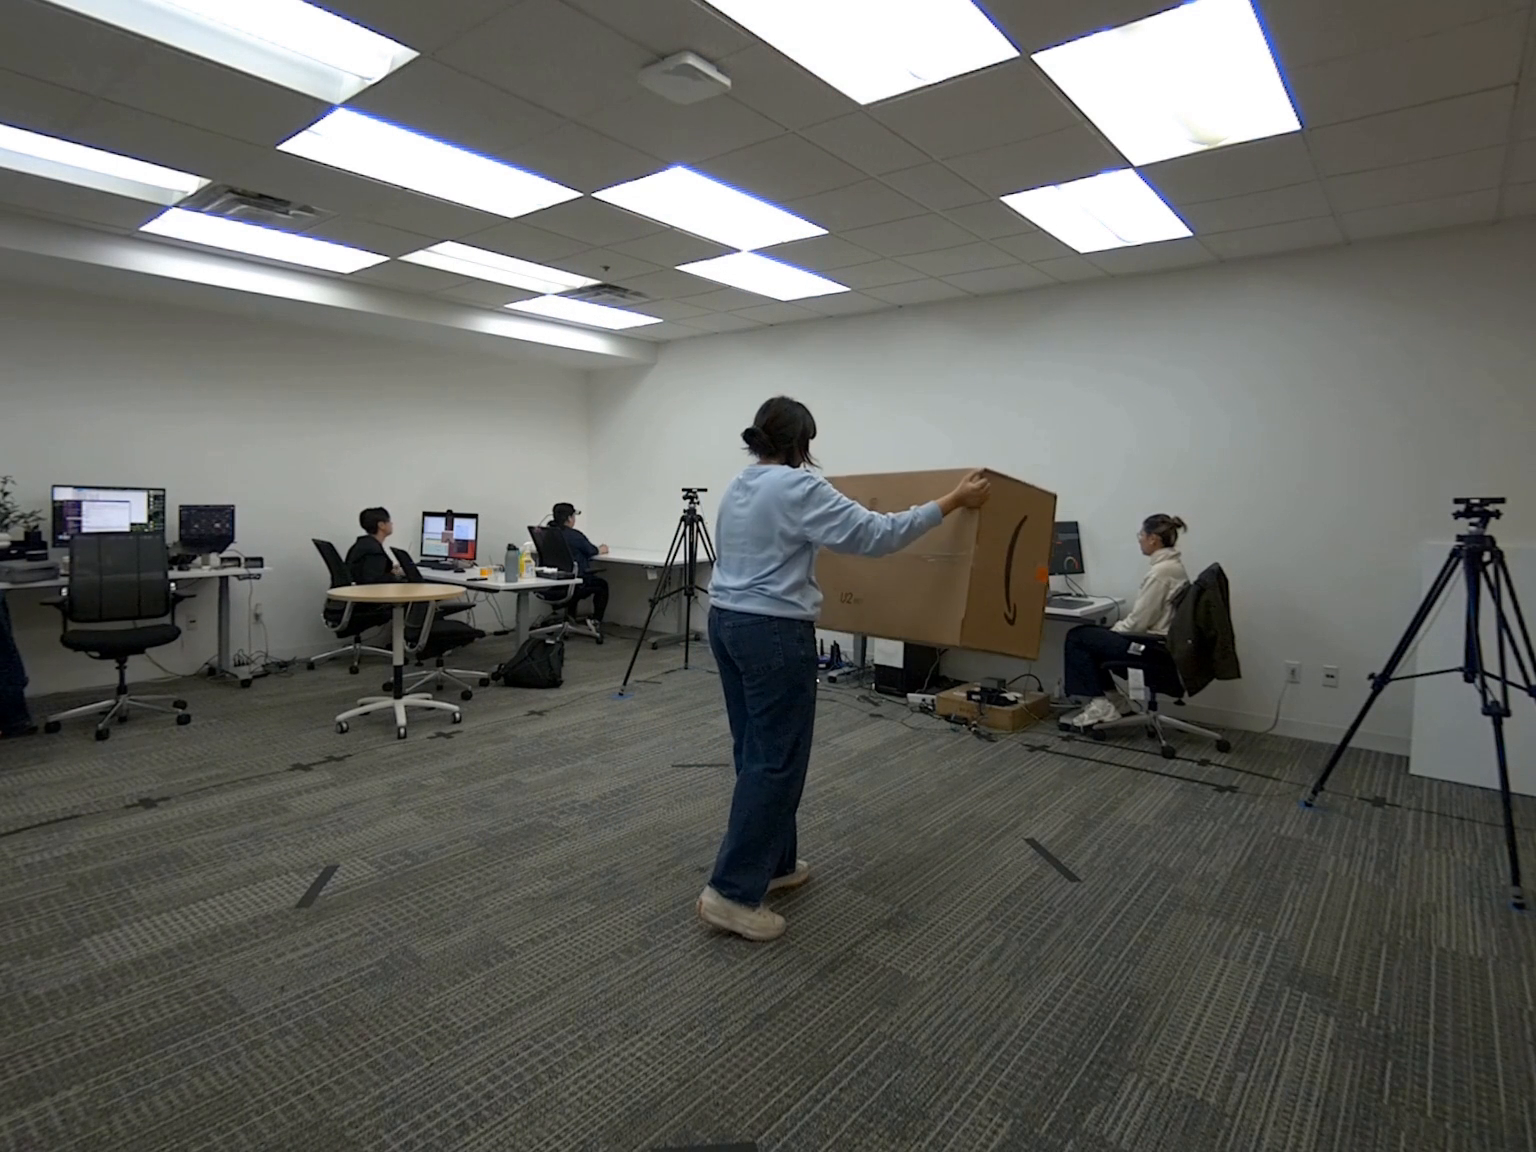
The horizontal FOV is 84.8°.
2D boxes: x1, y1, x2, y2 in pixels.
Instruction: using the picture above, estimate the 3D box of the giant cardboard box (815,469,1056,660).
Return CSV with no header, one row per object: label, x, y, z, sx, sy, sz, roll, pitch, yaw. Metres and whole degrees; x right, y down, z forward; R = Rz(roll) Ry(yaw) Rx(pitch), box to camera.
giant cardboard box,0.462,-0.067,3.176,0.411,0.580,1.059,13,-6,-39
